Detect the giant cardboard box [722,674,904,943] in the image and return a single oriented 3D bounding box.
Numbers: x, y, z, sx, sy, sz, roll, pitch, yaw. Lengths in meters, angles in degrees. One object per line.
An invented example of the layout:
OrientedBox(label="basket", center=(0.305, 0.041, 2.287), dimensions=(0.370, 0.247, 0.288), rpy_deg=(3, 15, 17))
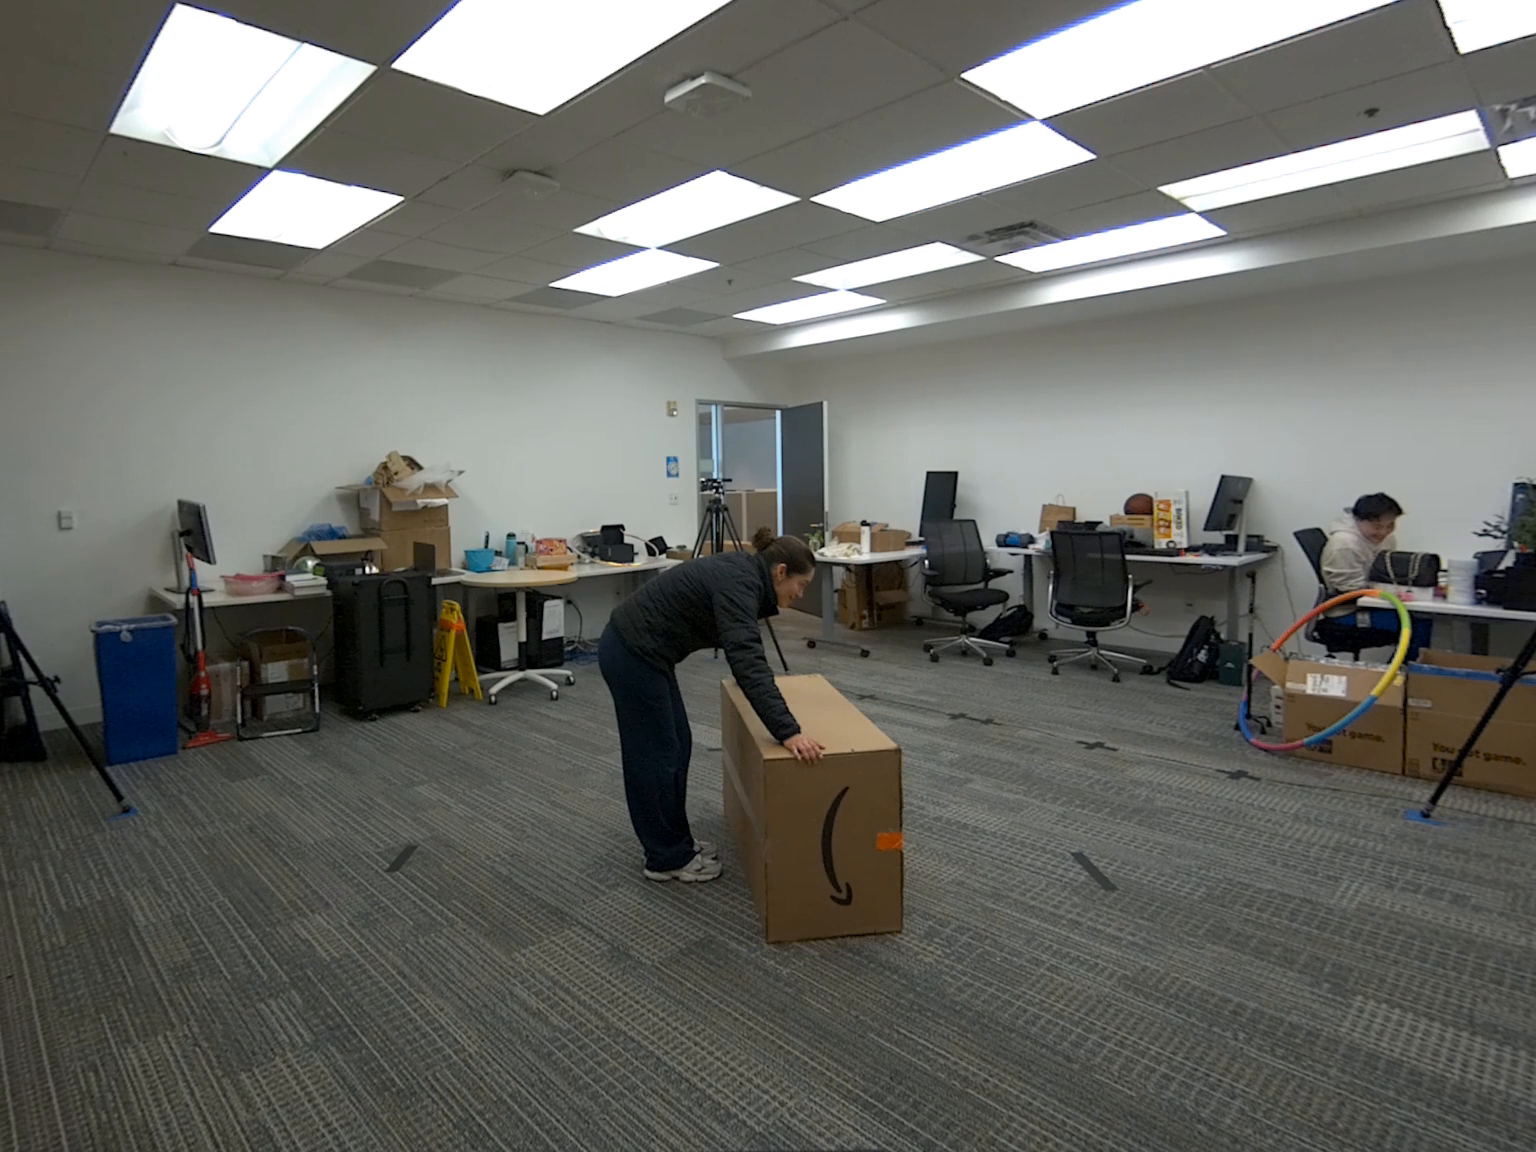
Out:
OrientedBox(label="giant cardboard box", center=(0.115, 0.758, 3.087), dimensions=(0.443, 0.581, 1.040), rpy_deg=(-4, 6, -9))
